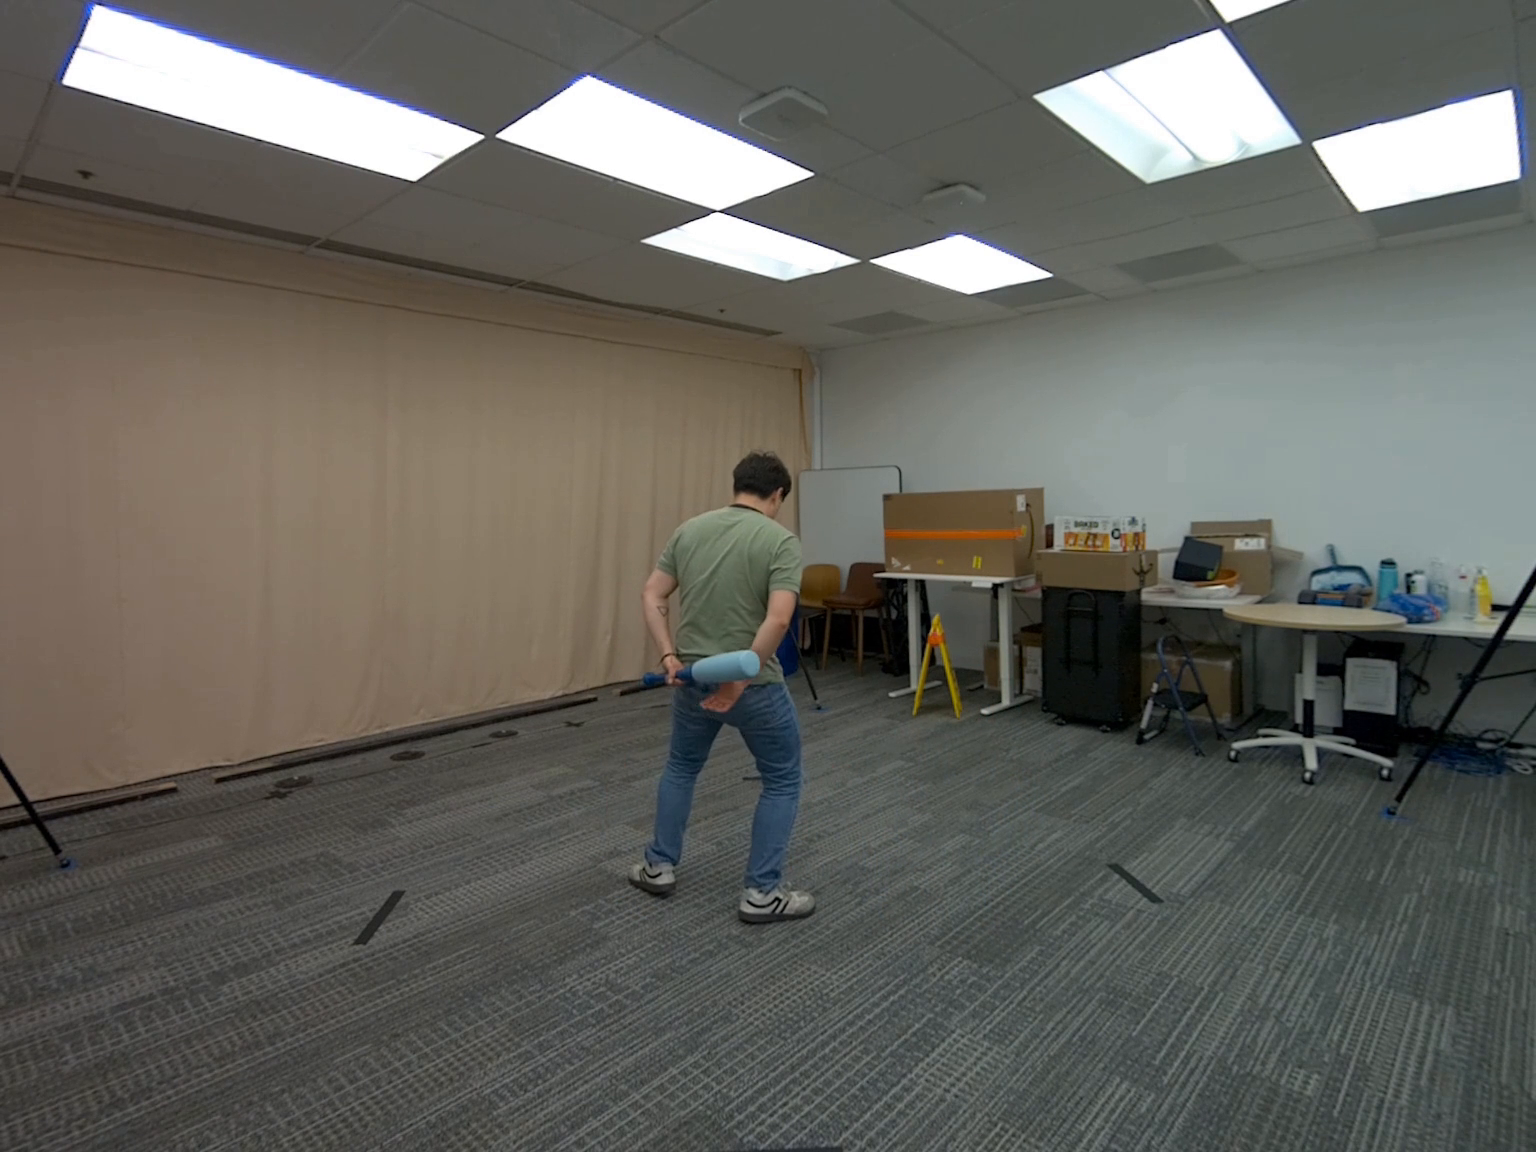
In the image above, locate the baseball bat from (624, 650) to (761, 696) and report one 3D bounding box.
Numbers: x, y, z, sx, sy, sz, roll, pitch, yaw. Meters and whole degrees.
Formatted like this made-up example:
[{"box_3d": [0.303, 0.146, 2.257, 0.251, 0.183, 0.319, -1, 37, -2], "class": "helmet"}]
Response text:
[{"box_3d": [-0.238, 0.329, 2.745, 0.086, 0.089, 0.557, -5, -8, -44], "class": "baseball bat"}]
